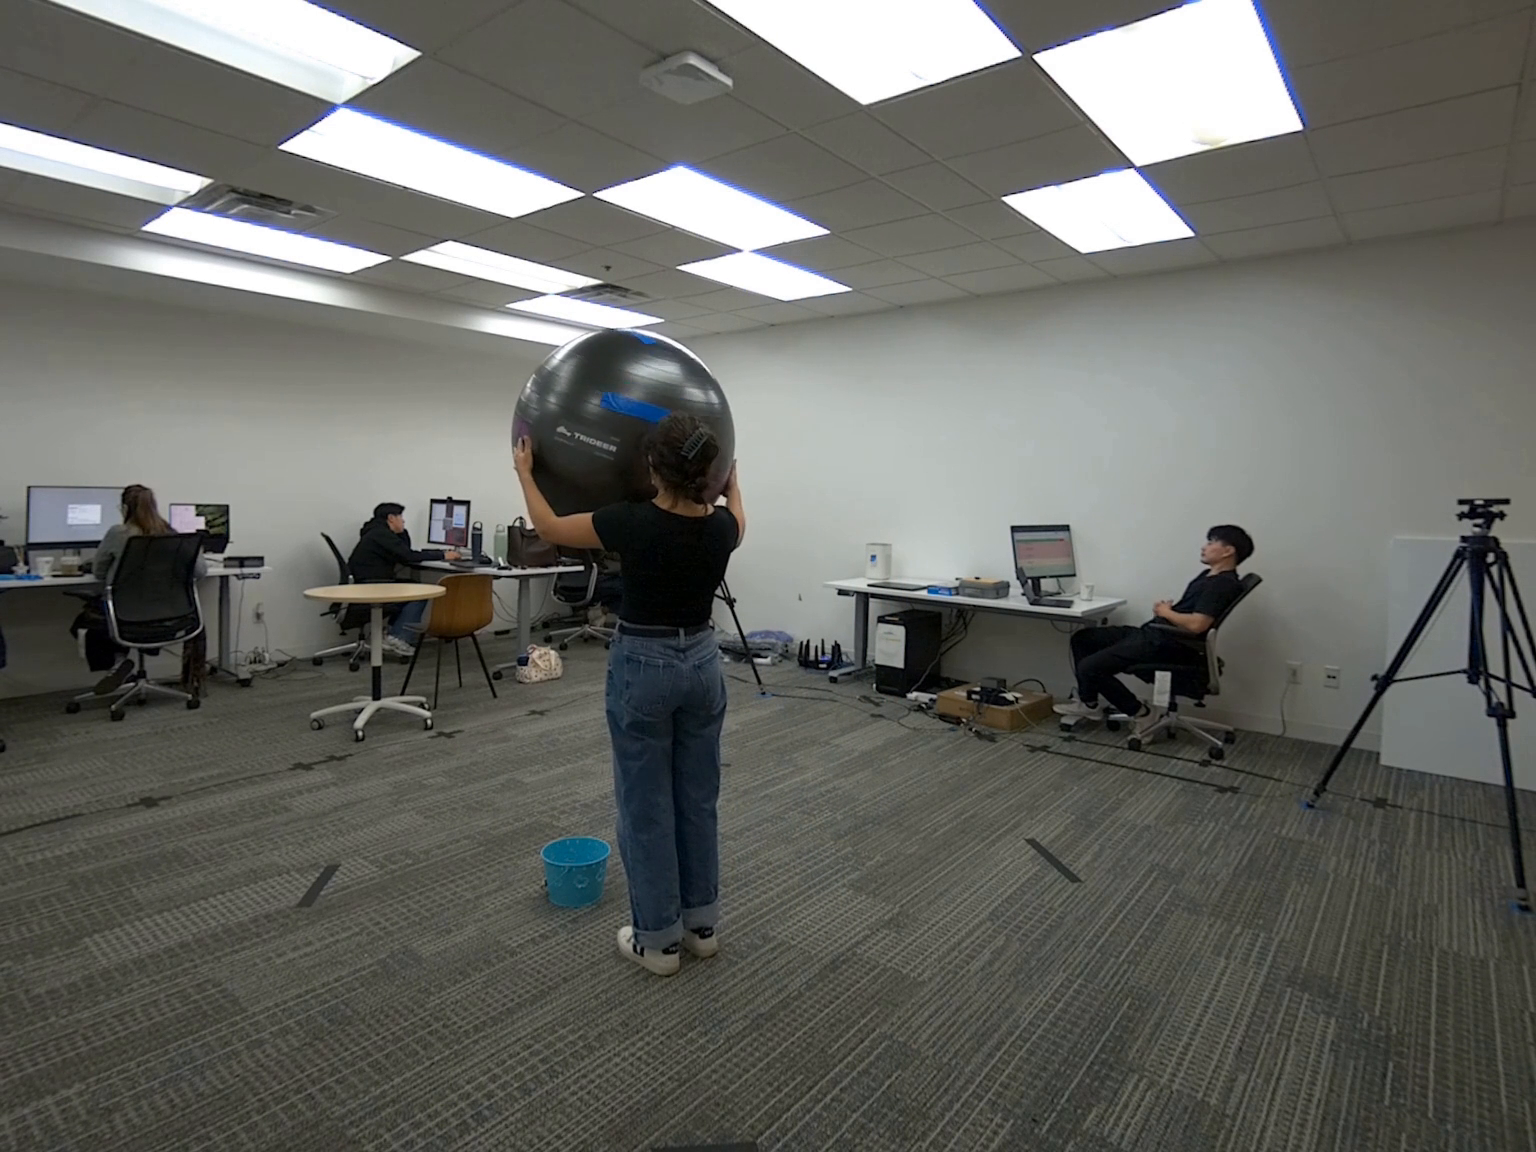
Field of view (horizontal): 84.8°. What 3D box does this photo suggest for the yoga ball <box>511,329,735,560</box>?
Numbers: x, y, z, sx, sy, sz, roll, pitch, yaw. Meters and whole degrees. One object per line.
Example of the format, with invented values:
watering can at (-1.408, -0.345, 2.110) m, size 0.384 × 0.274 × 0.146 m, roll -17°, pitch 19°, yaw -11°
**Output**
yoga ball at (-0.505, -0.461, 2.923) m, size 0.757 × 0.755 × 0.762 m, roll 1°, pitch 4°, yaw -2°
